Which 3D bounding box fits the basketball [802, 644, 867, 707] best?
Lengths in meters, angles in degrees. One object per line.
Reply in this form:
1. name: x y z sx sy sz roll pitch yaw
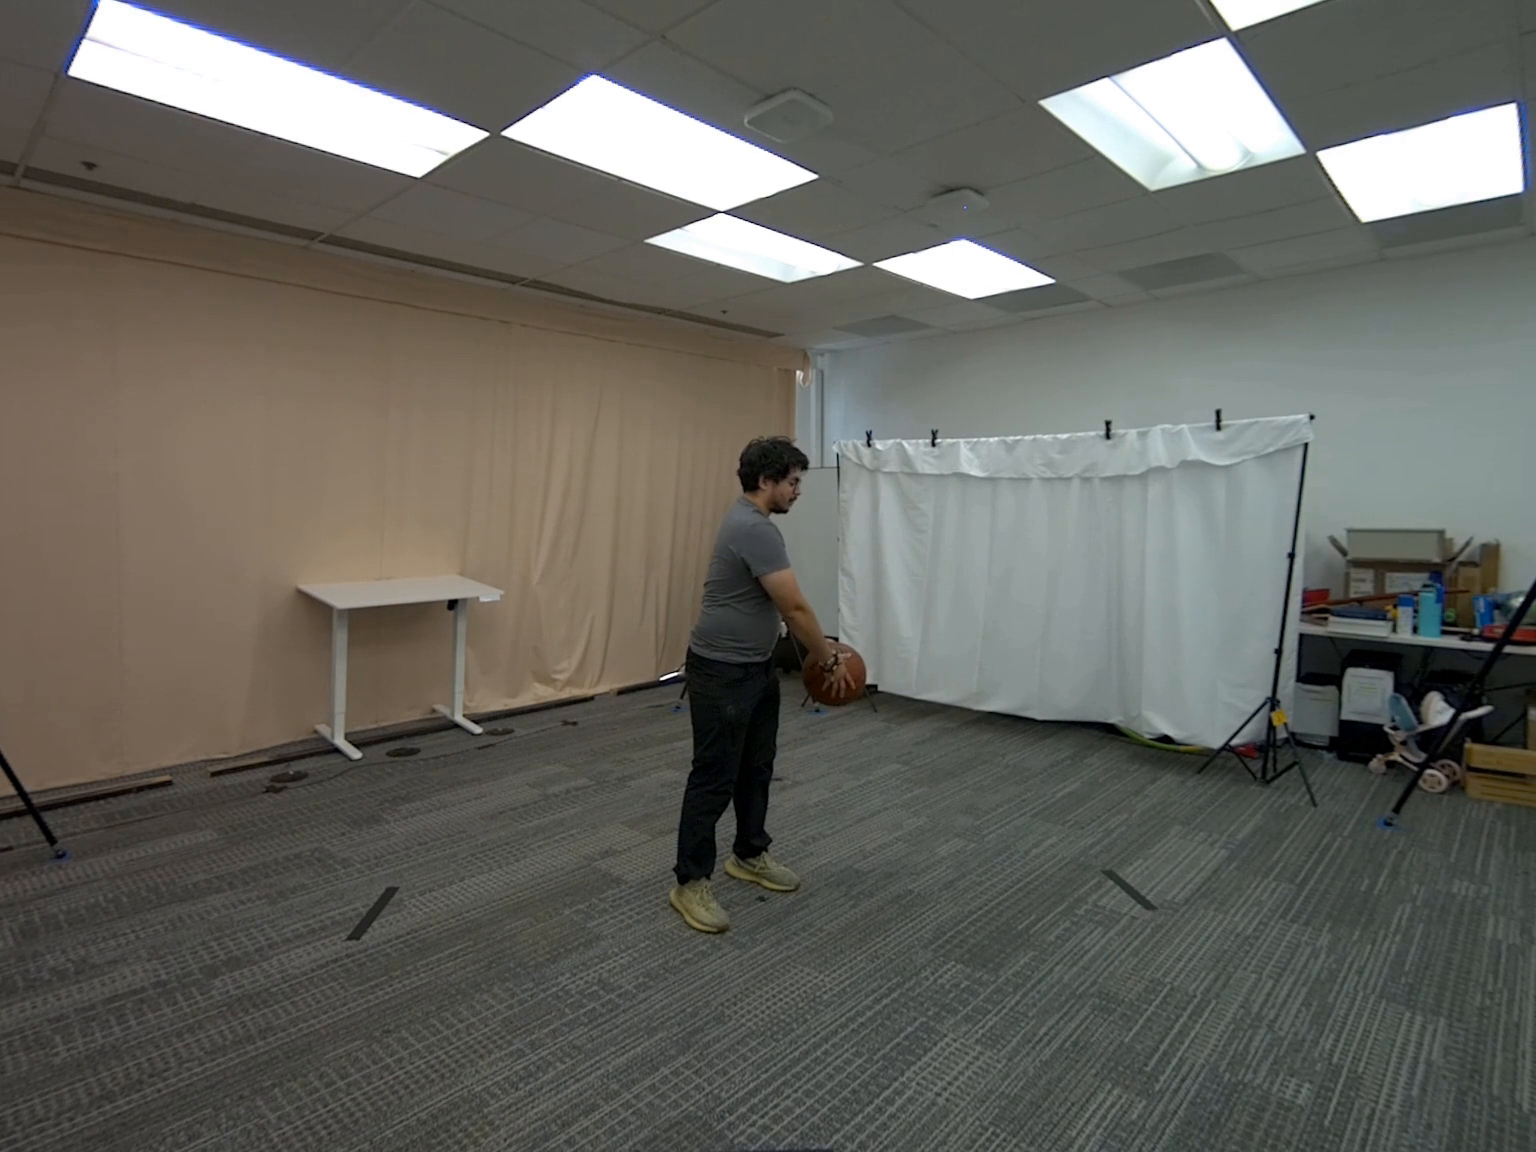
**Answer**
1. basketball: 0.258 0.360 3.139 0.236 0.235 0.237 0 4 -2
